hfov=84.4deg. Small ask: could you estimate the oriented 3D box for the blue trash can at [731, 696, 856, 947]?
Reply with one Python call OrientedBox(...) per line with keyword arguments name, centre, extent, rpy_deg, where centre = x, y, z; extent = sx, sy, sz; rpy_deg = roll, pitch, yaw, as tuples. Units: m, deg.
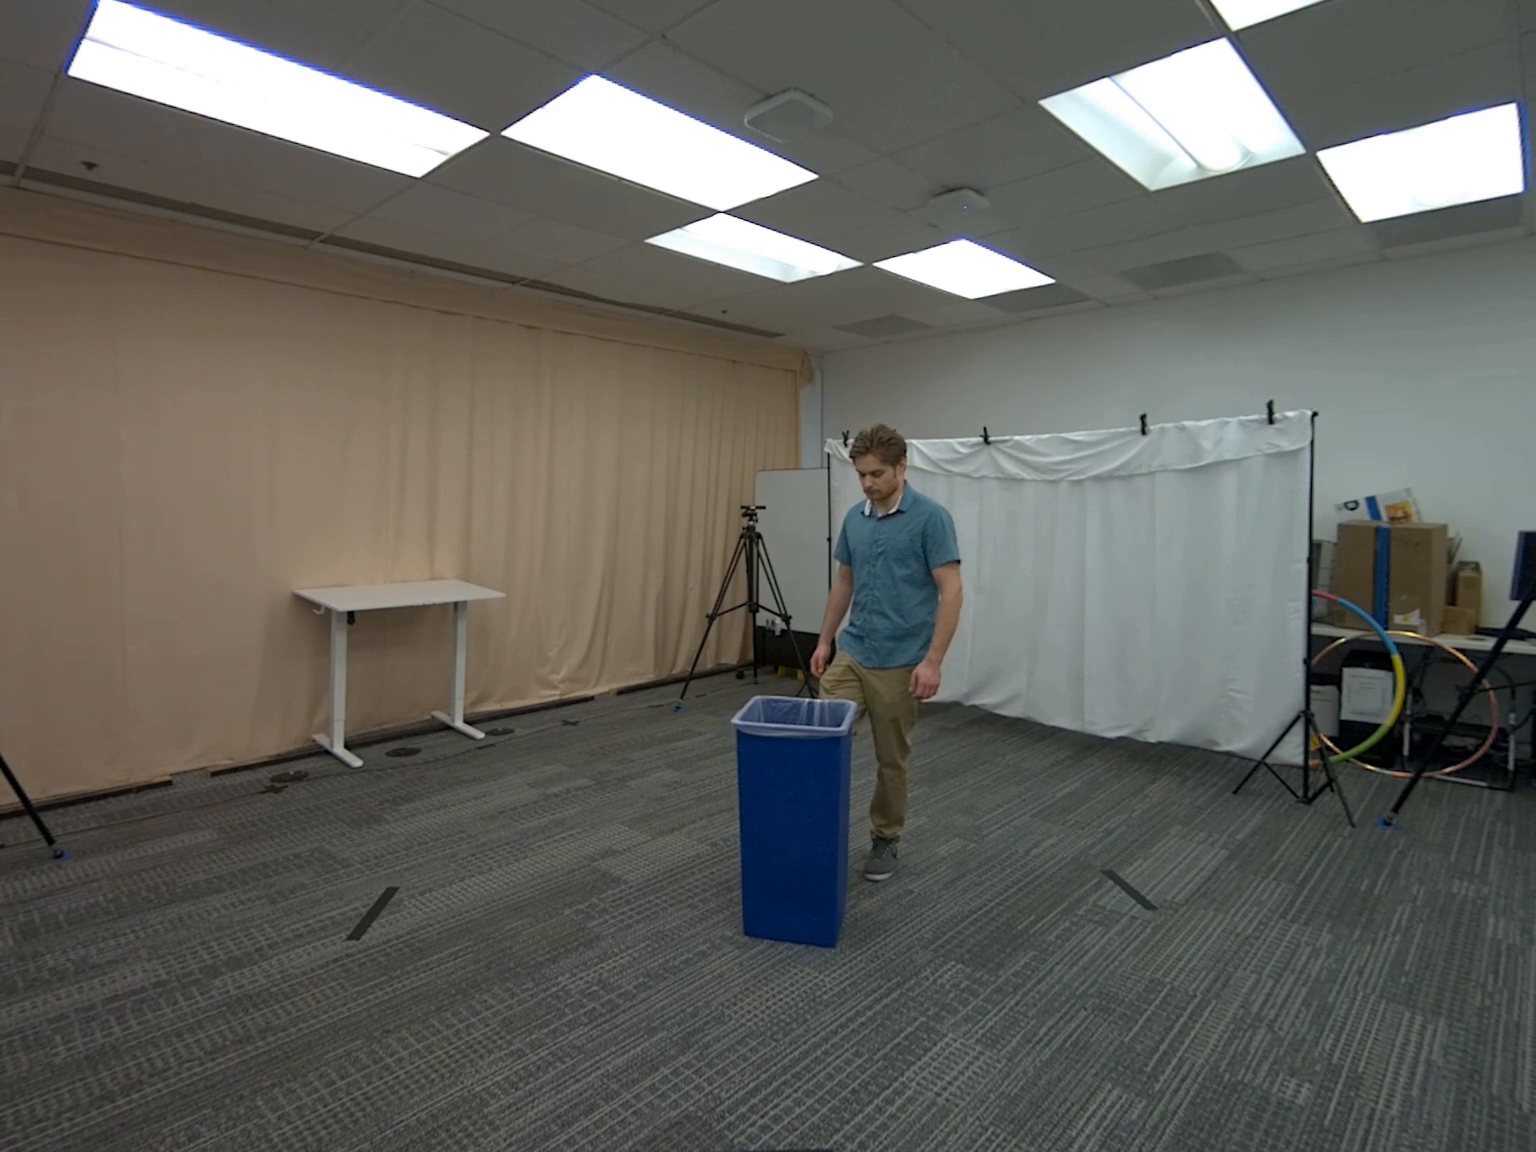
OrientedBox(name="blue trash can", centre=(0.098, 0.800, 2.795), extent=(0.384, 0.712, 0.369), rpy_deg=(1, 3, 14))
